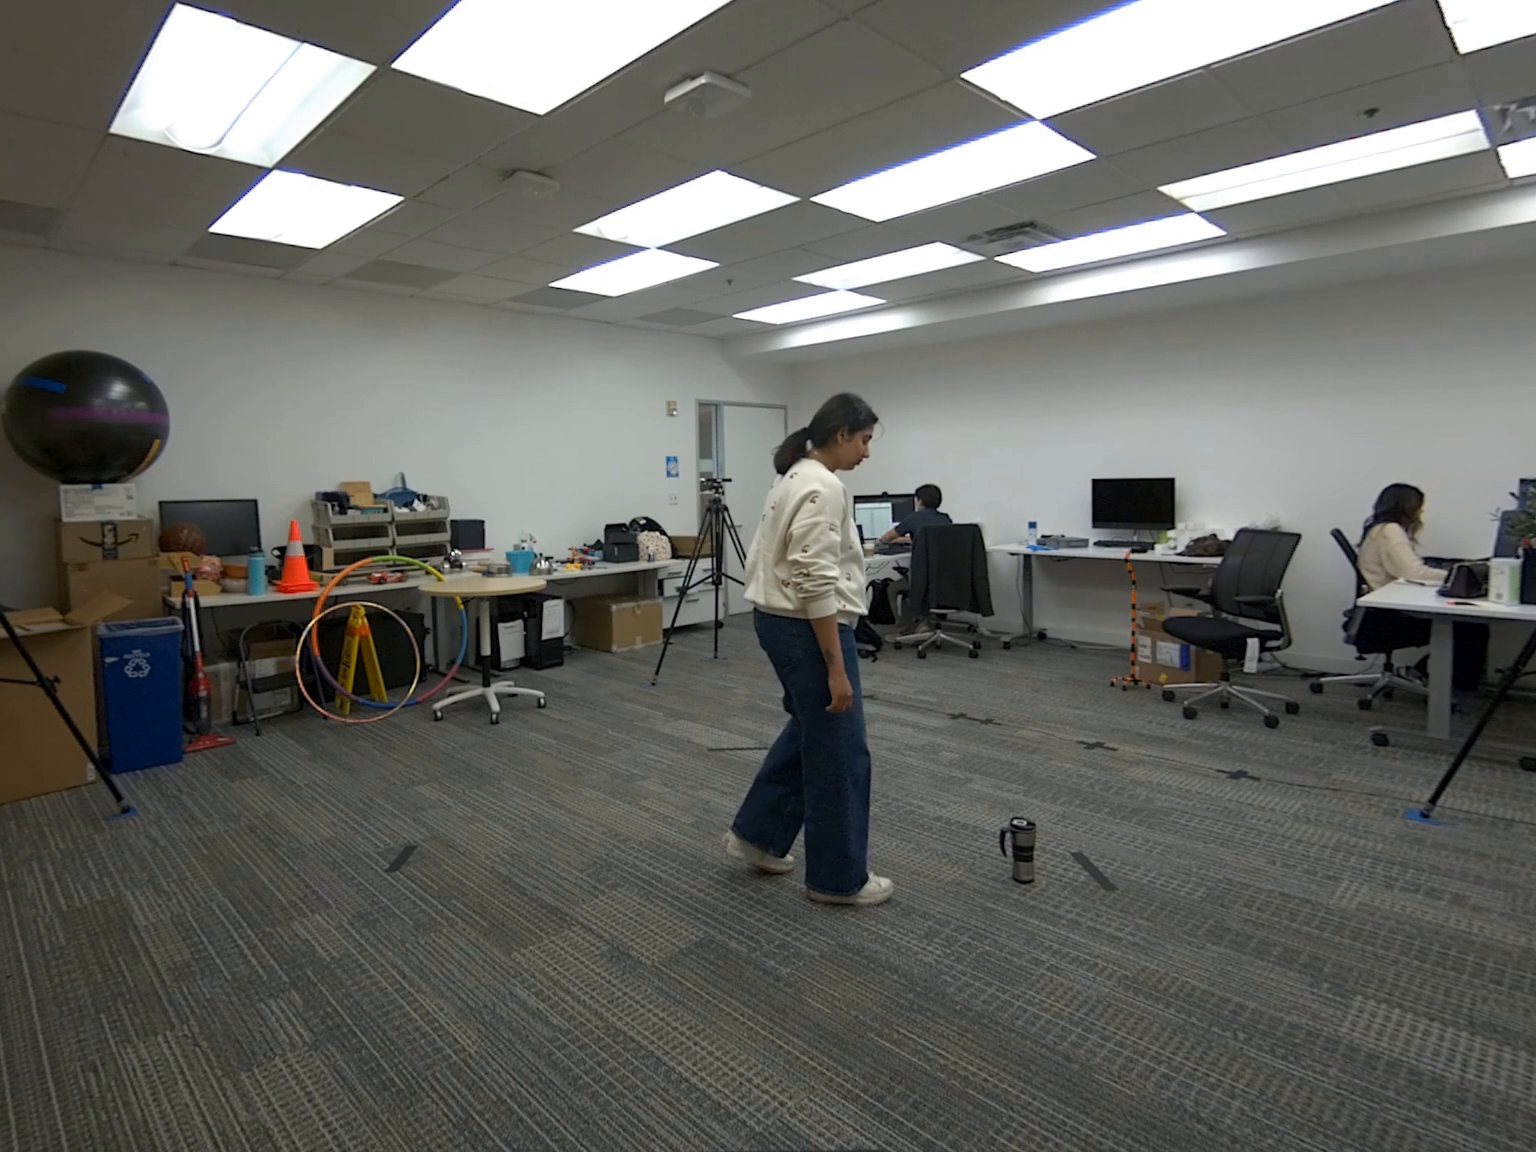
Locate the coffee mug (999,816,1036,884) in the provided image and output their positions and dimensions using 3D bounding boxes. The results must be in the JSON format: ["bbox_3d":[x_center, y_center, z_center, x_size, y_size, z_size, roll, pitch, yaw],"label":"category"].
[{"bbox_3d":[0.865,0.941,2.947,0.126,0.201,0.086,6,10,39],"label":"coffee mug"}]
